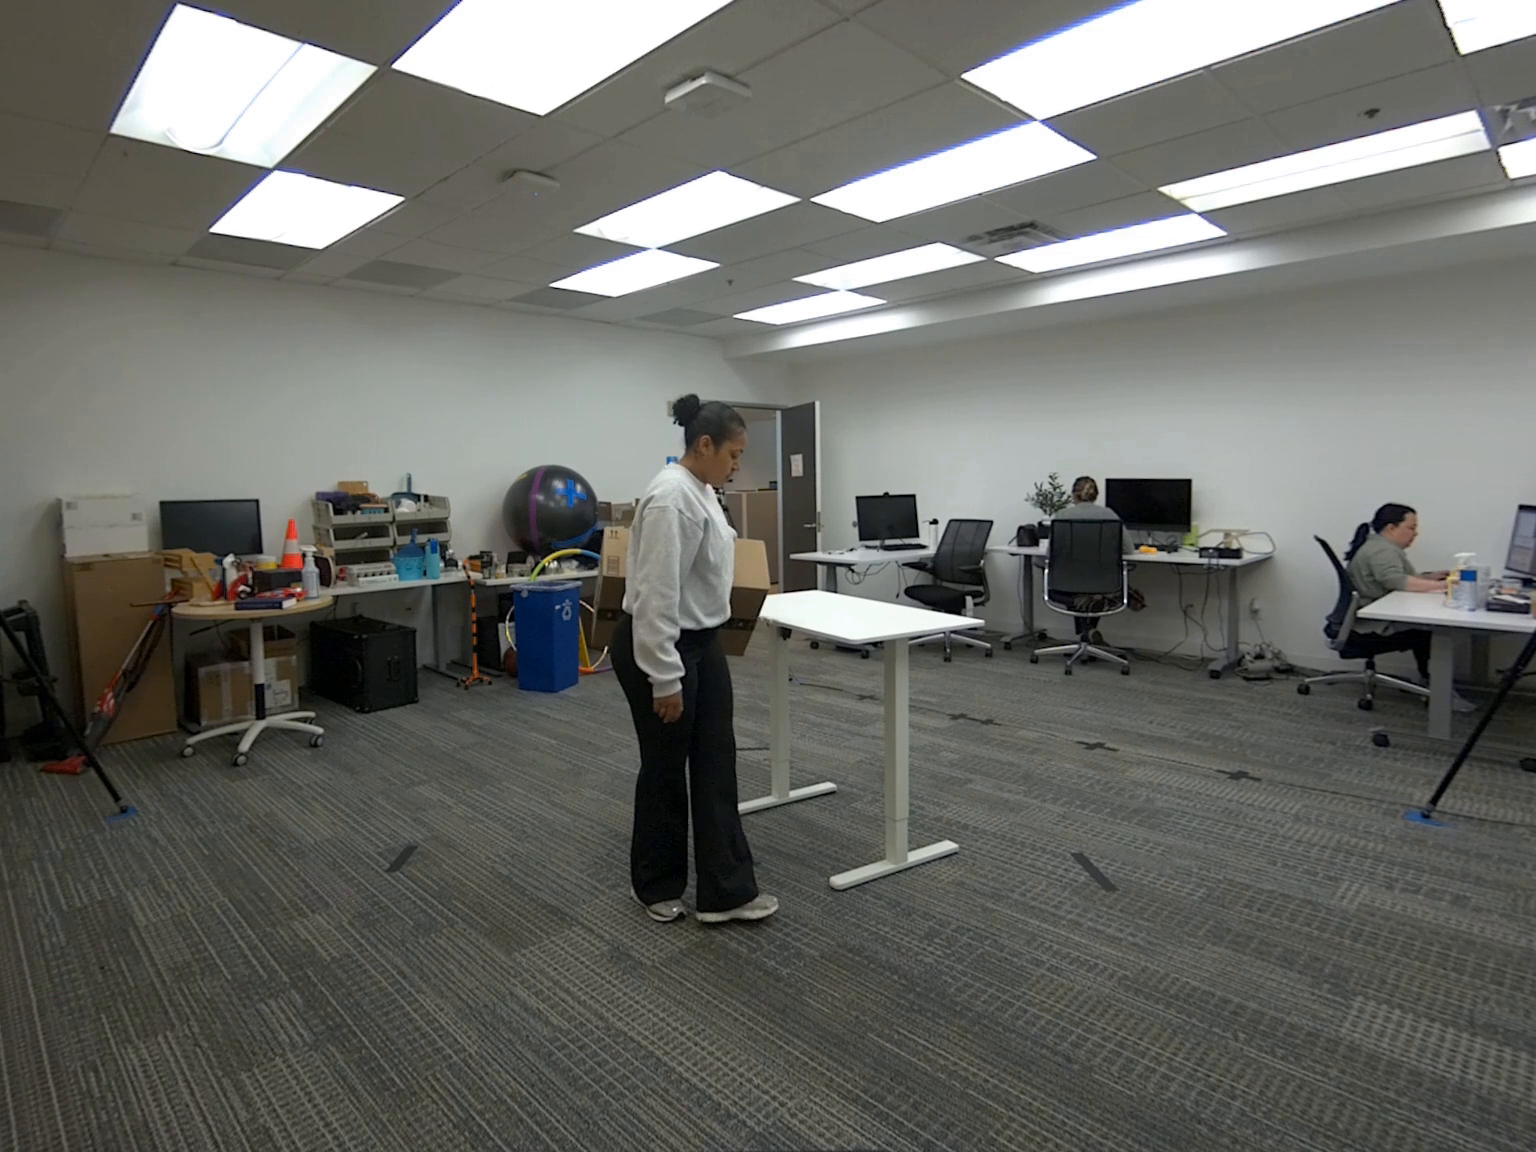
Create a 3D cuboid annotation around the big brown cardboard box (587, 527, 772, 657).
[{"bbox_3d":[-0.318,0.063,3.043,0.582,0.240,0.411,6,-41,-12],"label":"big brown cardboard box"}]
